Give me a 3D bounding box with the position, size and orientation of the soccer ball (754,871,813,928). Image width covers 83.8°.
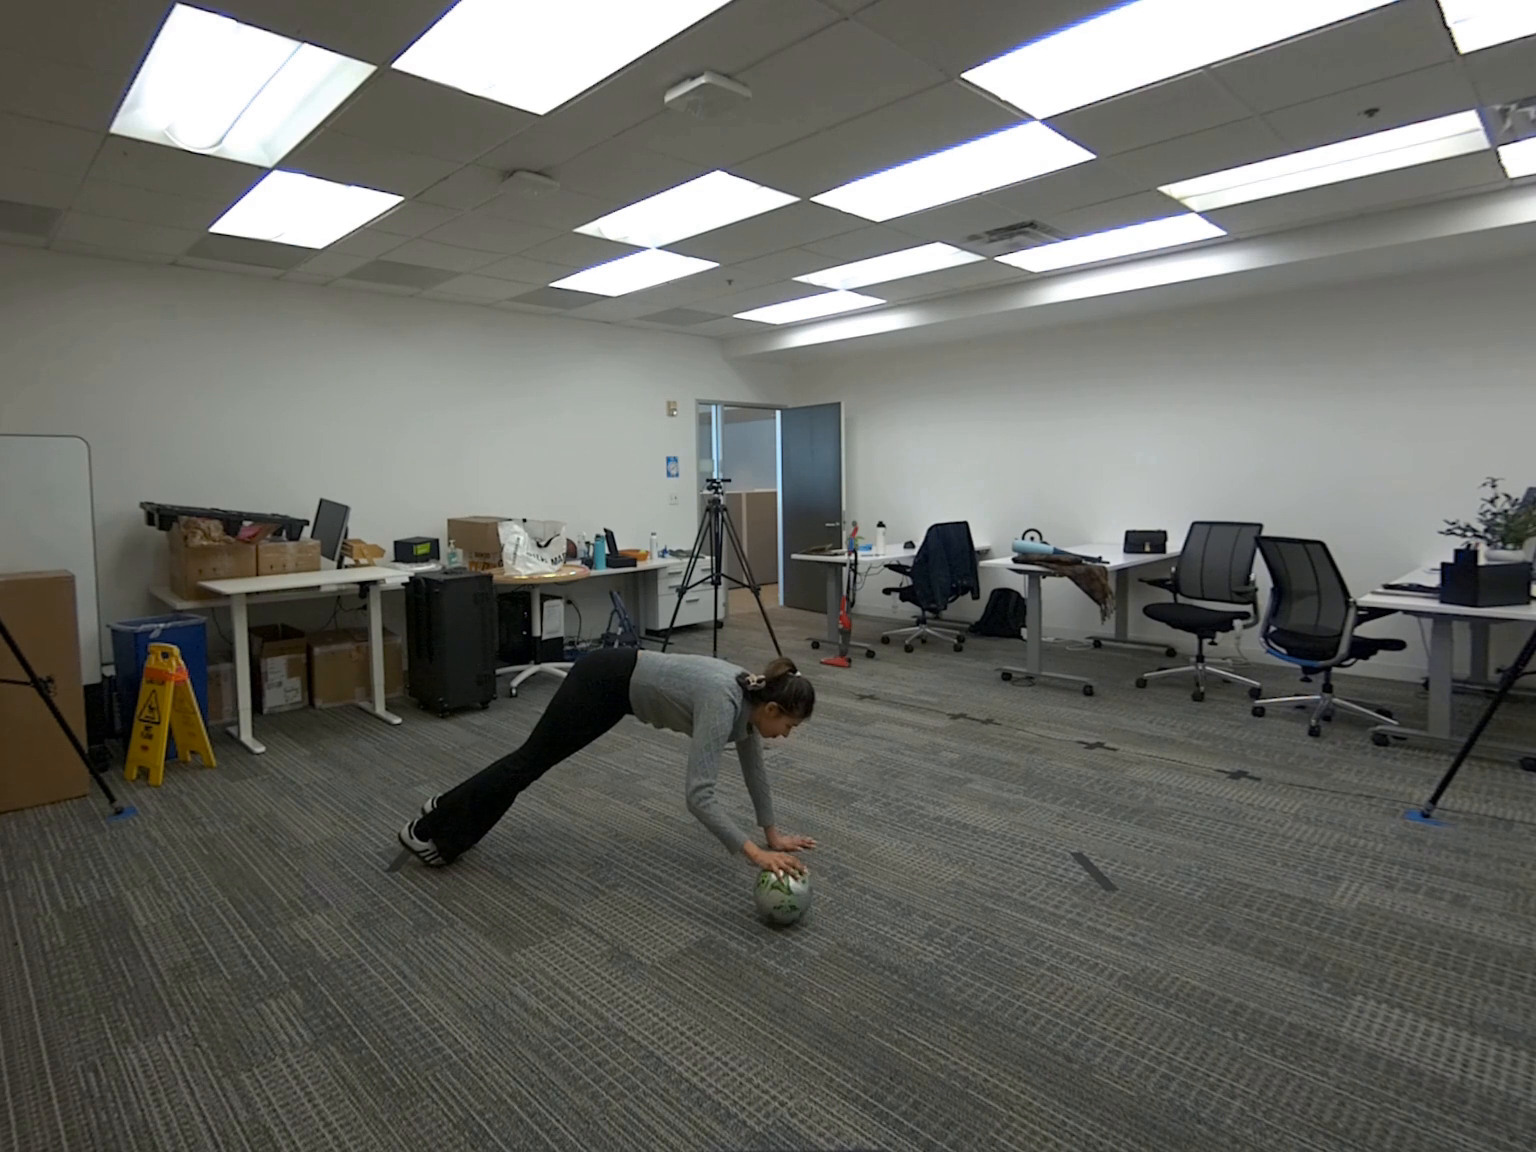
[{"bbox_3d":[0.049,0.995,2.709,0.187,0.187,0.188,-1,5,-2],"label":"soccer ball"}]
